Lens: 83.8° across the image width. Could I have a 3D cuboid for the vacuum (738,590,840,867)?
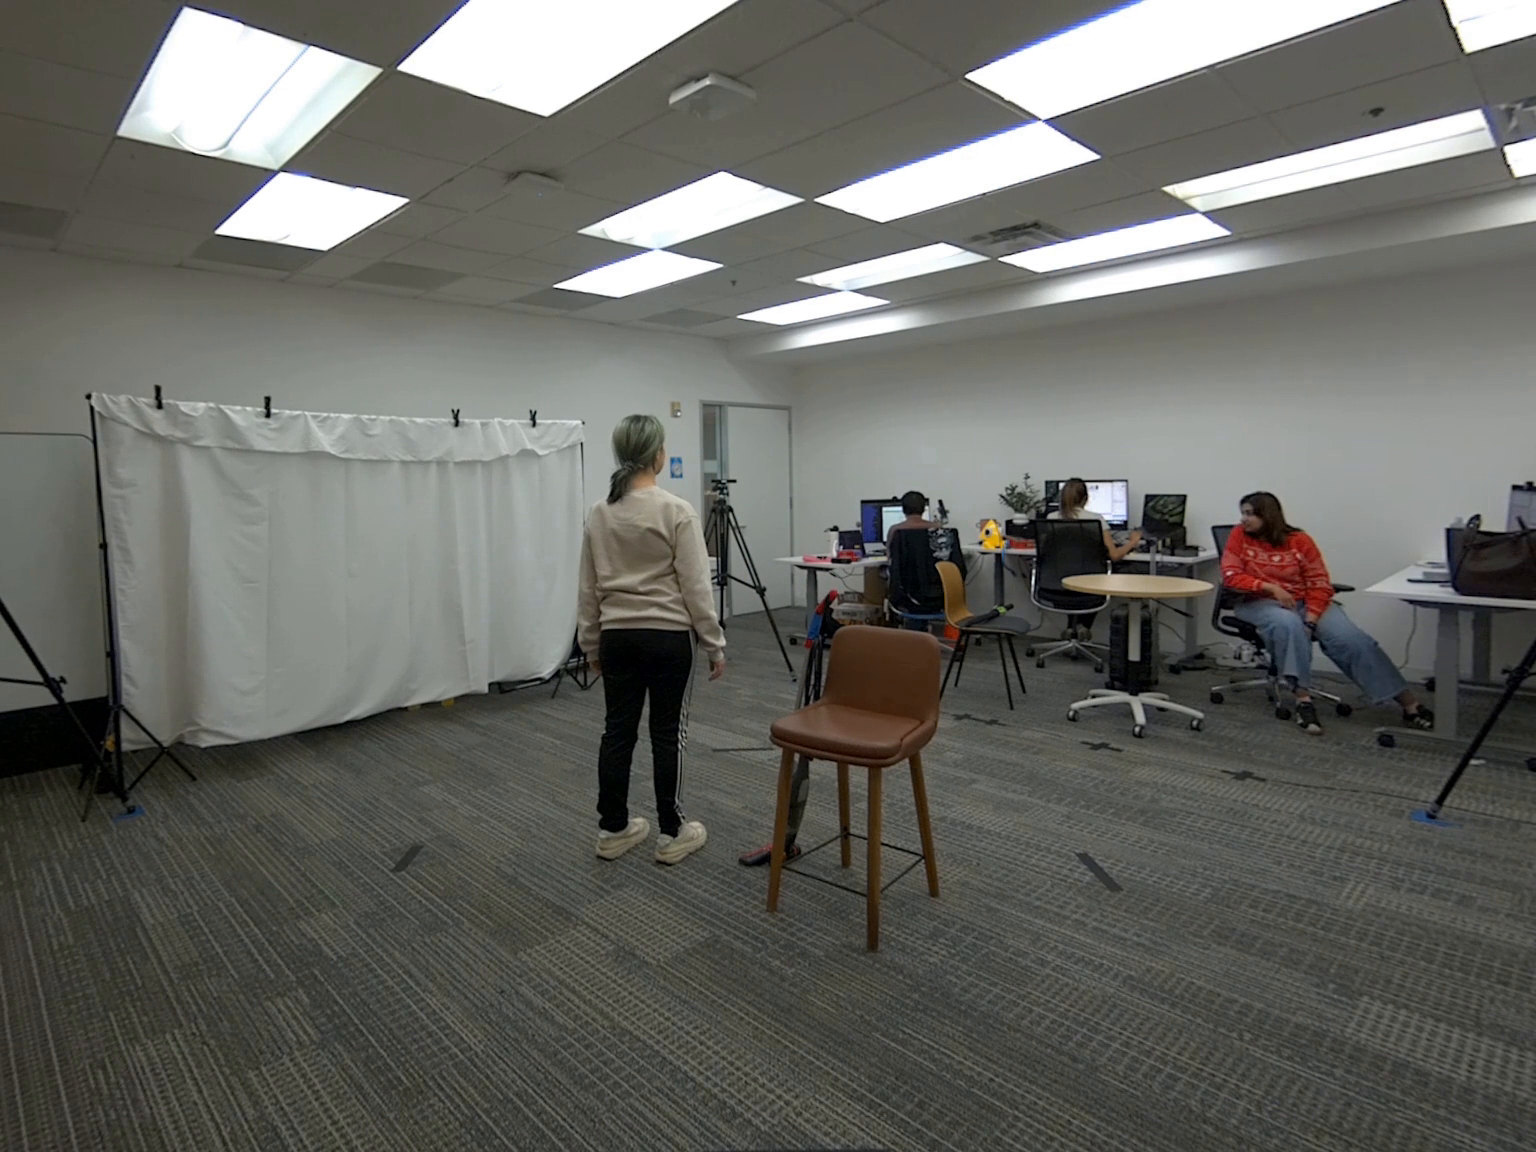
[{"bbox_3d":[0.119,0.548,3.019,0.246,1.038,0.149,-2,19,-37],"label":"vacuum"}]
